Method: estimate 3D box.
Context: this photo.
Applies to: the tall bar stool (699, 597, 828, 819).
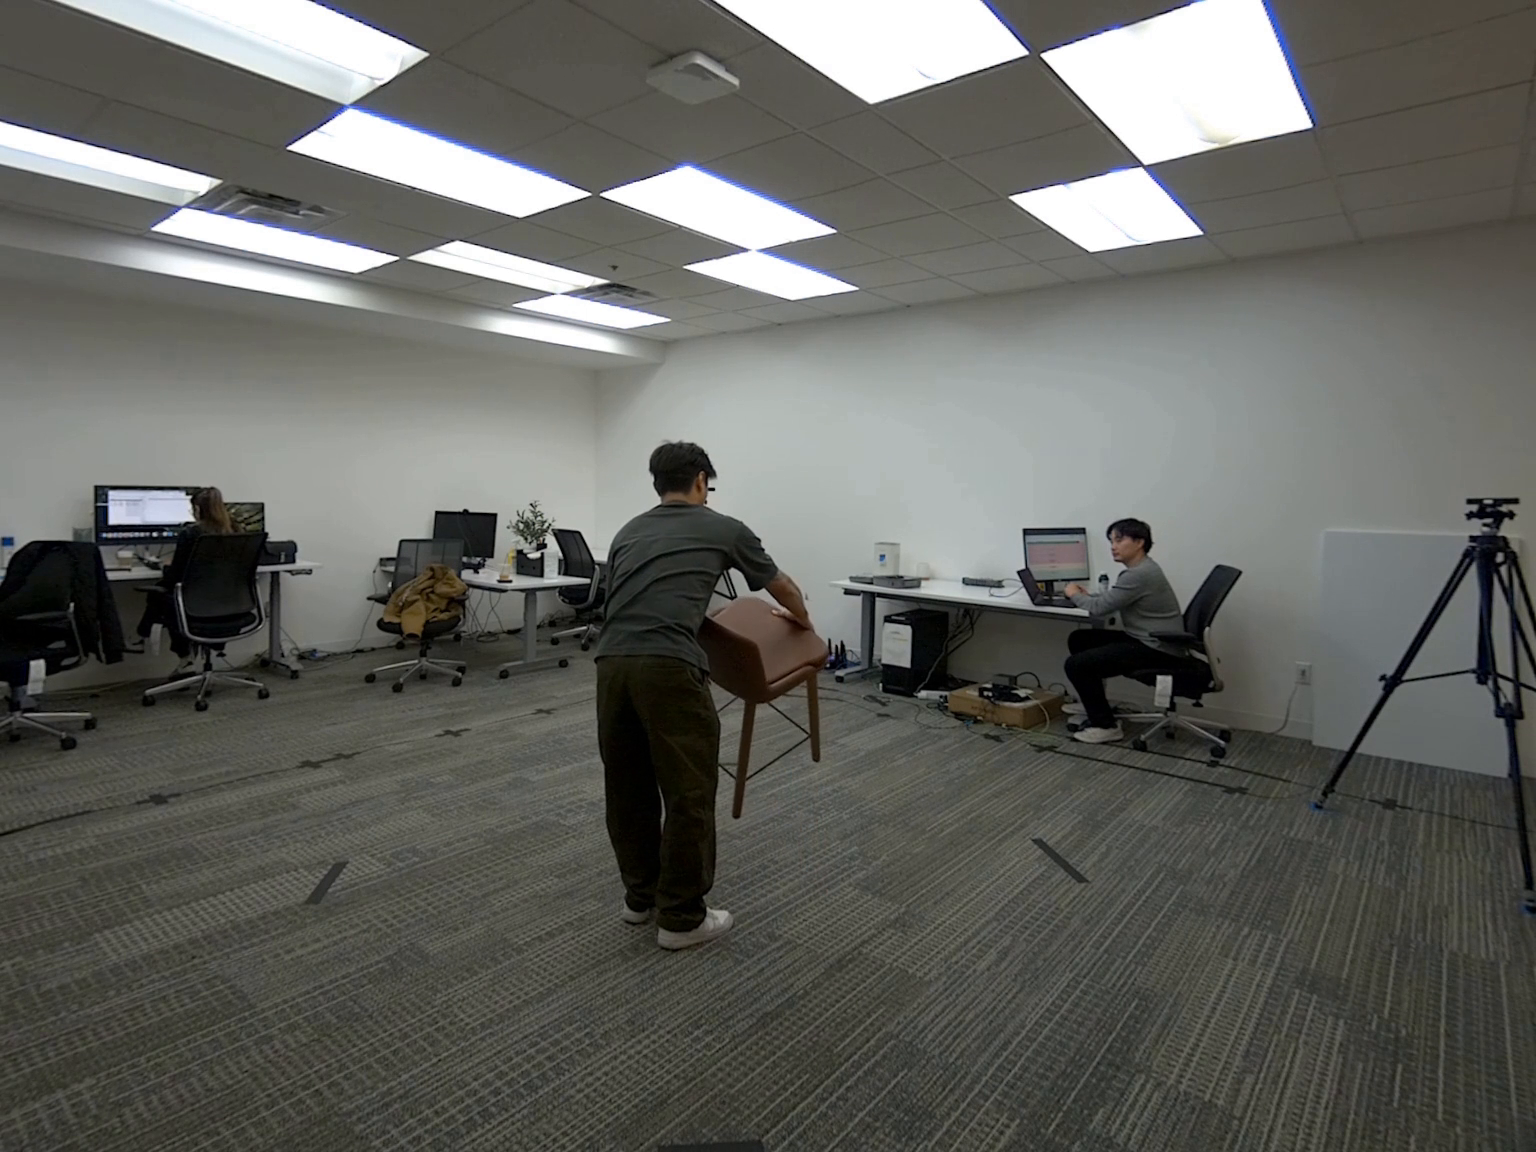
[{"bbox_3d":[-0.082,0.377,3.108,0.461,0.866,0.475,-28,45,-35],"label":"tall bar stool"}]
